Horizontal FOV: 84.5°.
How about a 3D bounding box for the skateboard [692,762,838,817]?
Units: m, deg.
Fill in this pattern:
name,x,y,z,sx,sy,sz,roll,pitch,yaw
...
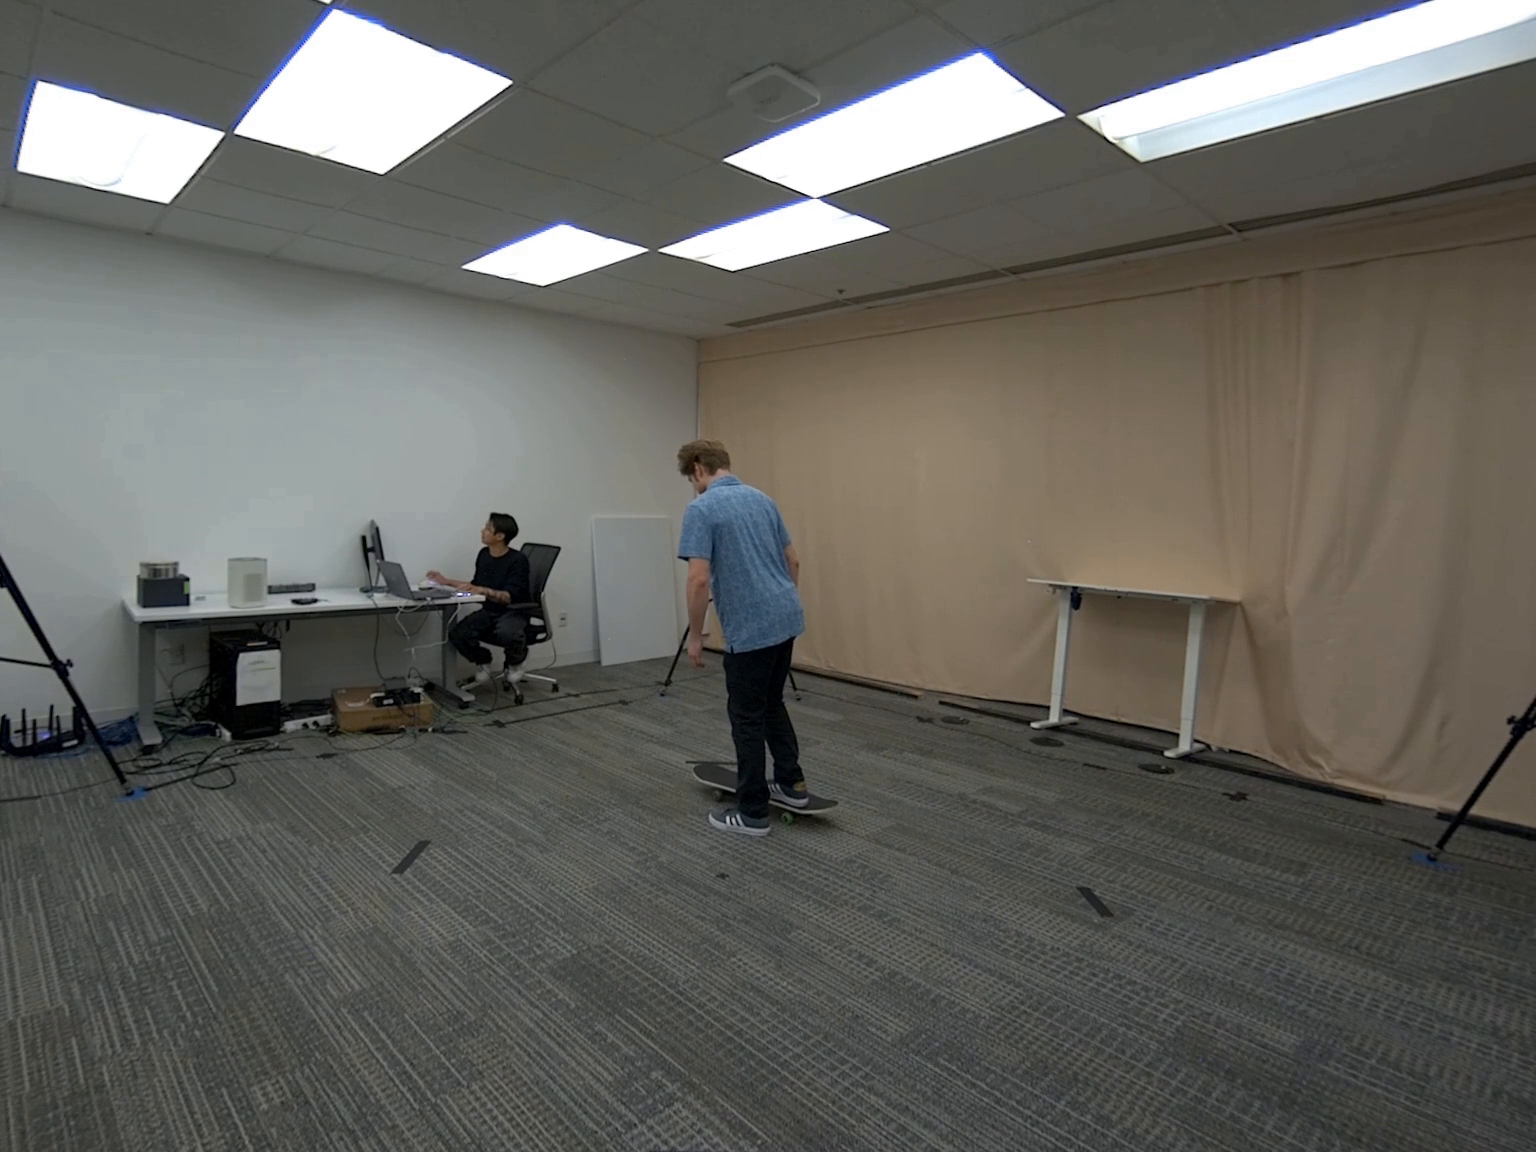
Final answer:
name,x,y,z,sx,sy,sz,roll,pitch,yaw
skateboard,-0.039,0.990,3.809,0.805,0.110,0.189,6,7,38
